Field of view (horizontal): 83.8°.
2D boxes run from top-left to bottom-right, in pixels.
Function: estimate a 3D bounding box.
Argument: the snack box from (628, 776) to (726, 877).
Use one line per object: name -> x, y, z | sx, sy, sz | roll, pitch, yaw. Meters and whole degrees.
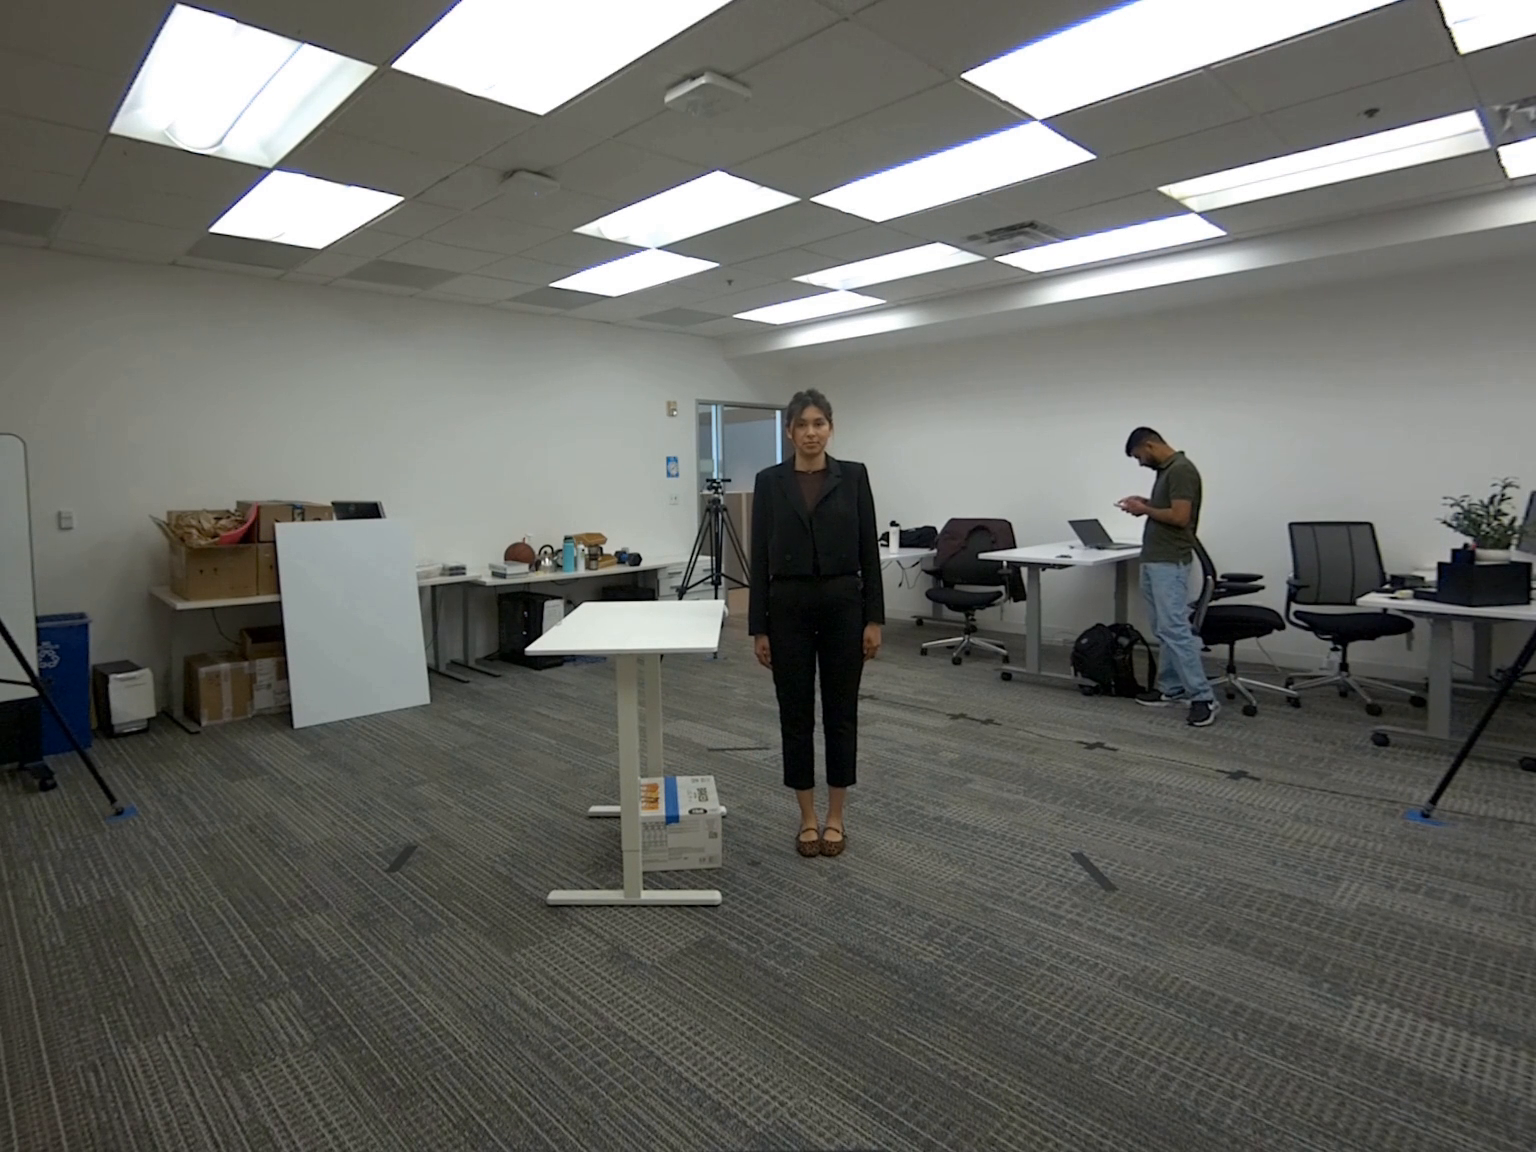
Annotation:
snack box -> -0.355, 0.934, 3.246 | 0.338, 0.205, 0.409 | -2, 5, -7
